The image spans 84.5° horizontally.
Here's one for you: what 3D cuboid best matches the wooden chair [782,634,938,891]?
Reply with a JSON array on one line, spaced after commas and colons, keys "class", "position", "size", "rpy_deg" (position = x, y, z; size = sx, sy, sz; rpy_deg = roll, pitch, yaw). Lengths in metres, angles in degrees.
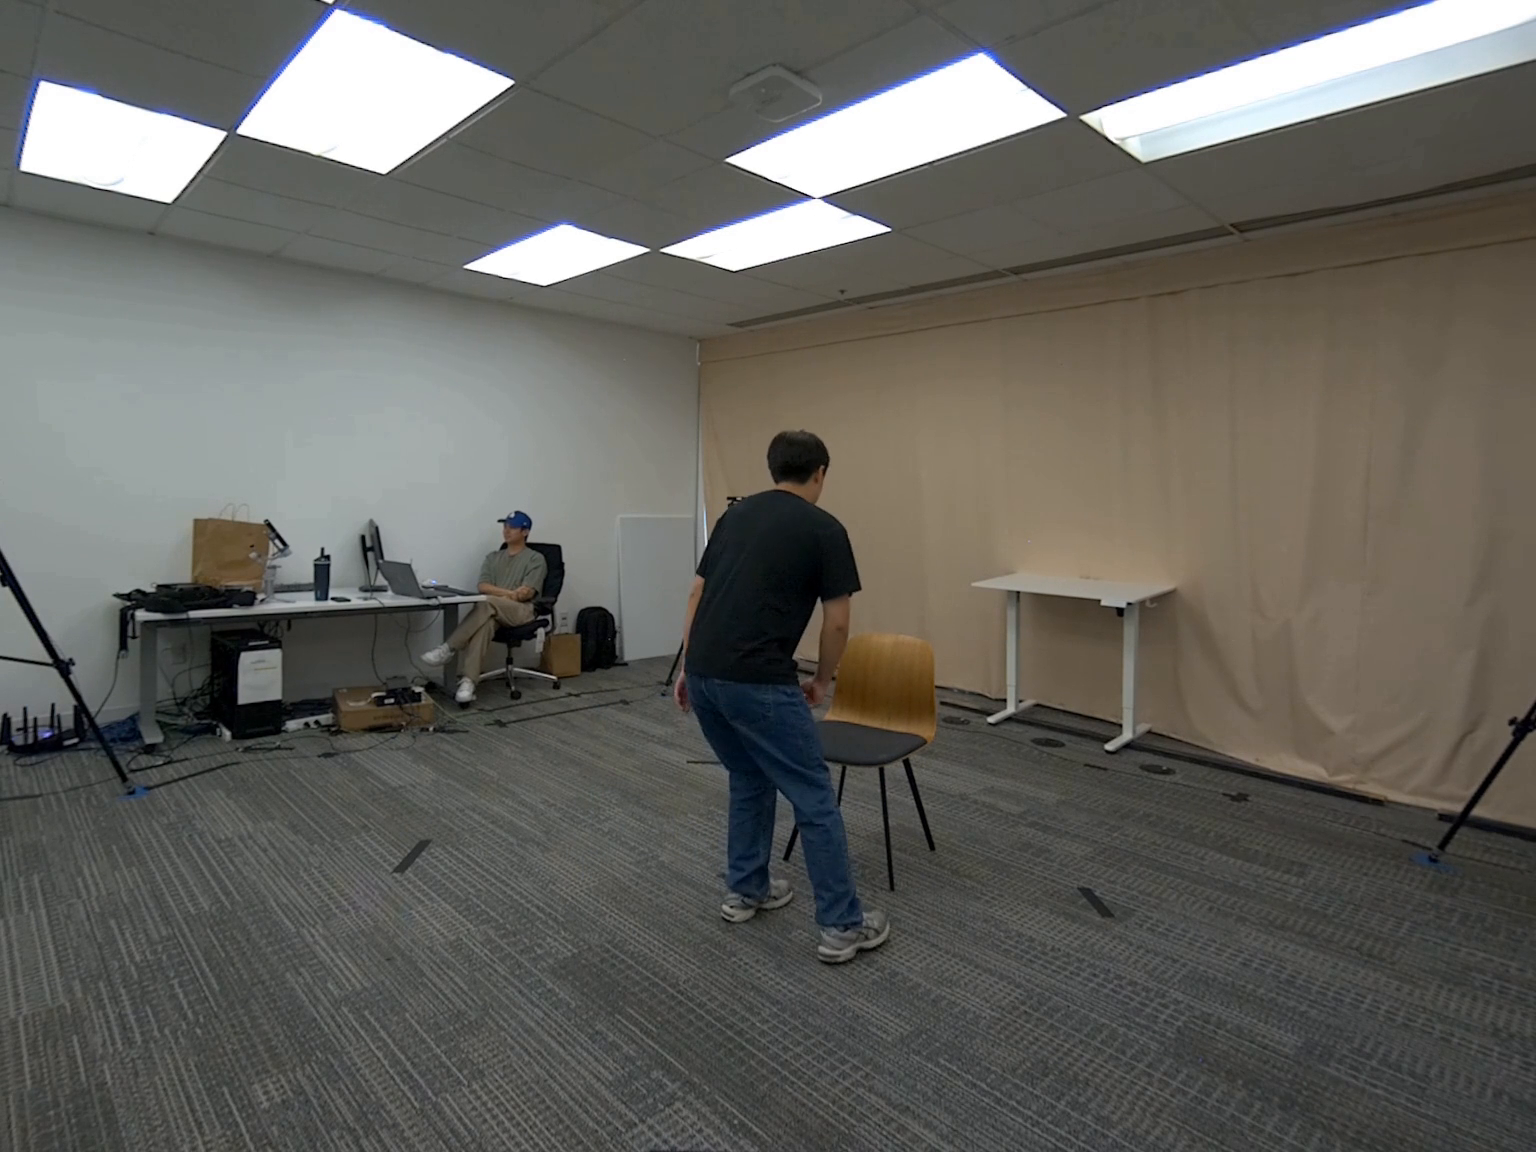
[{"class": "wooden chair", "position": [0.369, 0.678, 3.280], "size": [0.489, 0.878, 0.511], "rpy_deg": [3, -1, 32]}]
